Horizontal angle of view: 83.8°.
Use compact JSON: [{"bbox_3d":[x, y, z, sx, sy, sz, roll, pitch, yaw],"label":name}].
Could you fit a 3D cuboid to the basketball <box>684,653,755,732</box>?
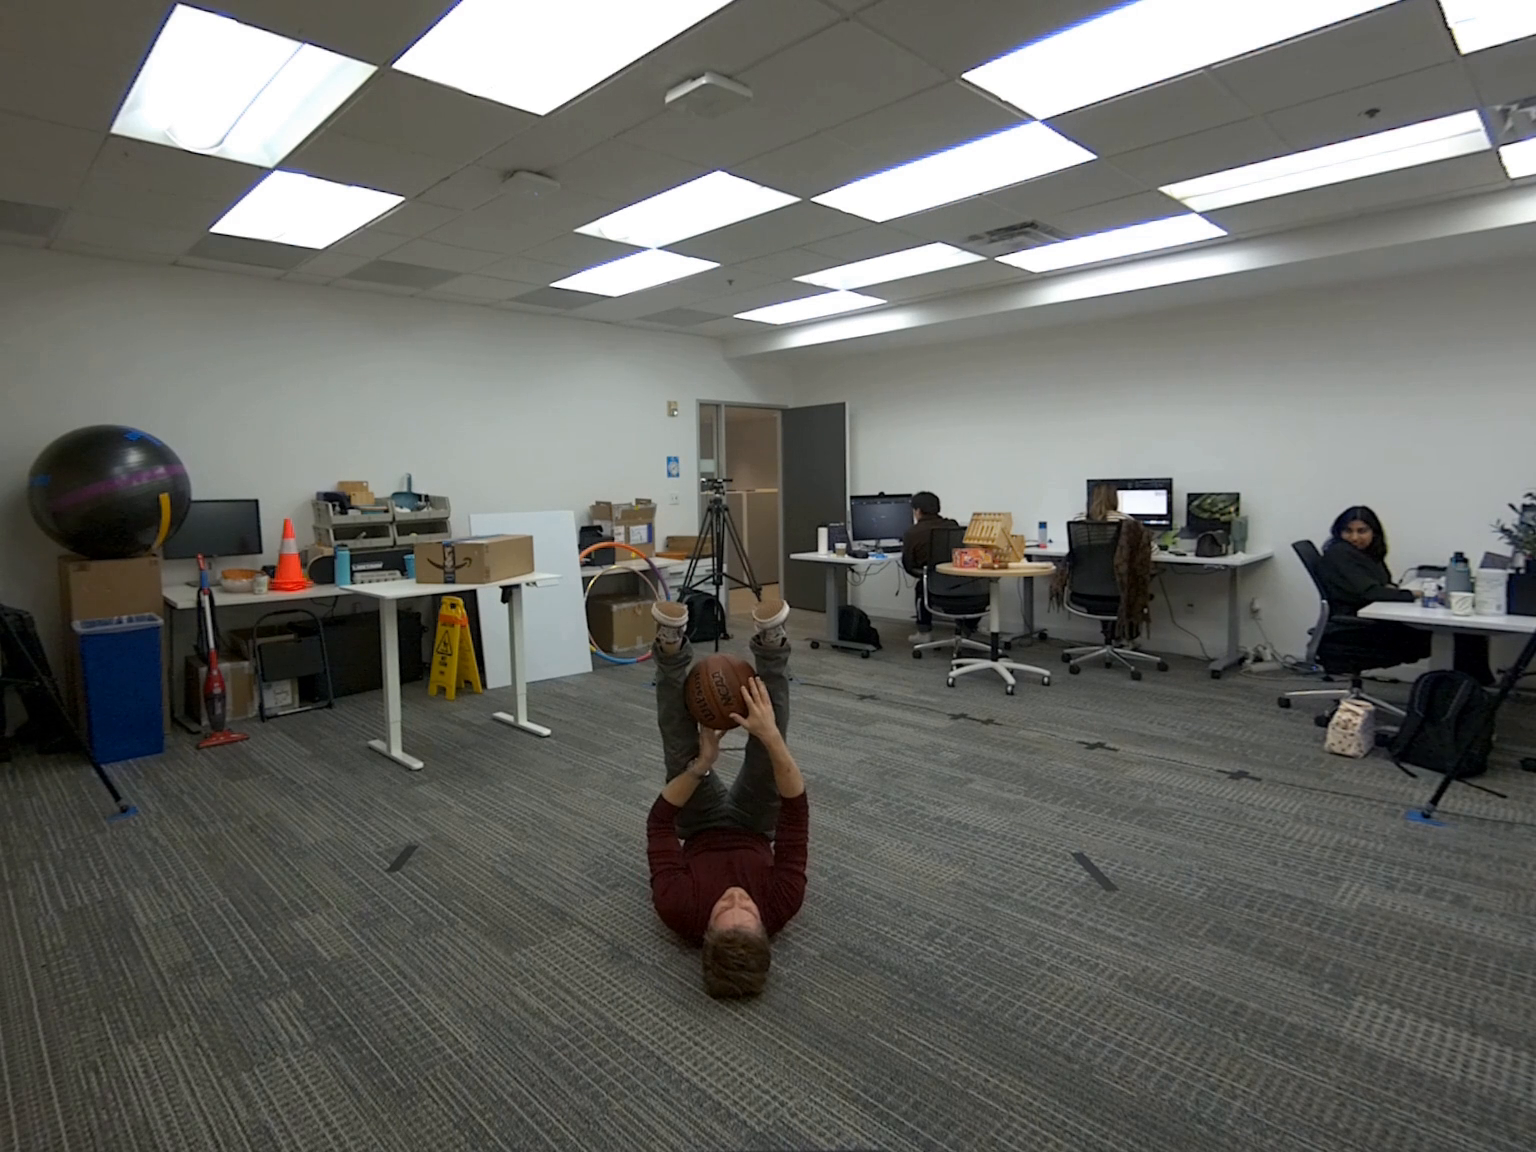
[{"bbox_3d":[-0.134,0.352,2.677,0.236,0.235,0.237,-1,5,-2],"label":"basketball"}]
